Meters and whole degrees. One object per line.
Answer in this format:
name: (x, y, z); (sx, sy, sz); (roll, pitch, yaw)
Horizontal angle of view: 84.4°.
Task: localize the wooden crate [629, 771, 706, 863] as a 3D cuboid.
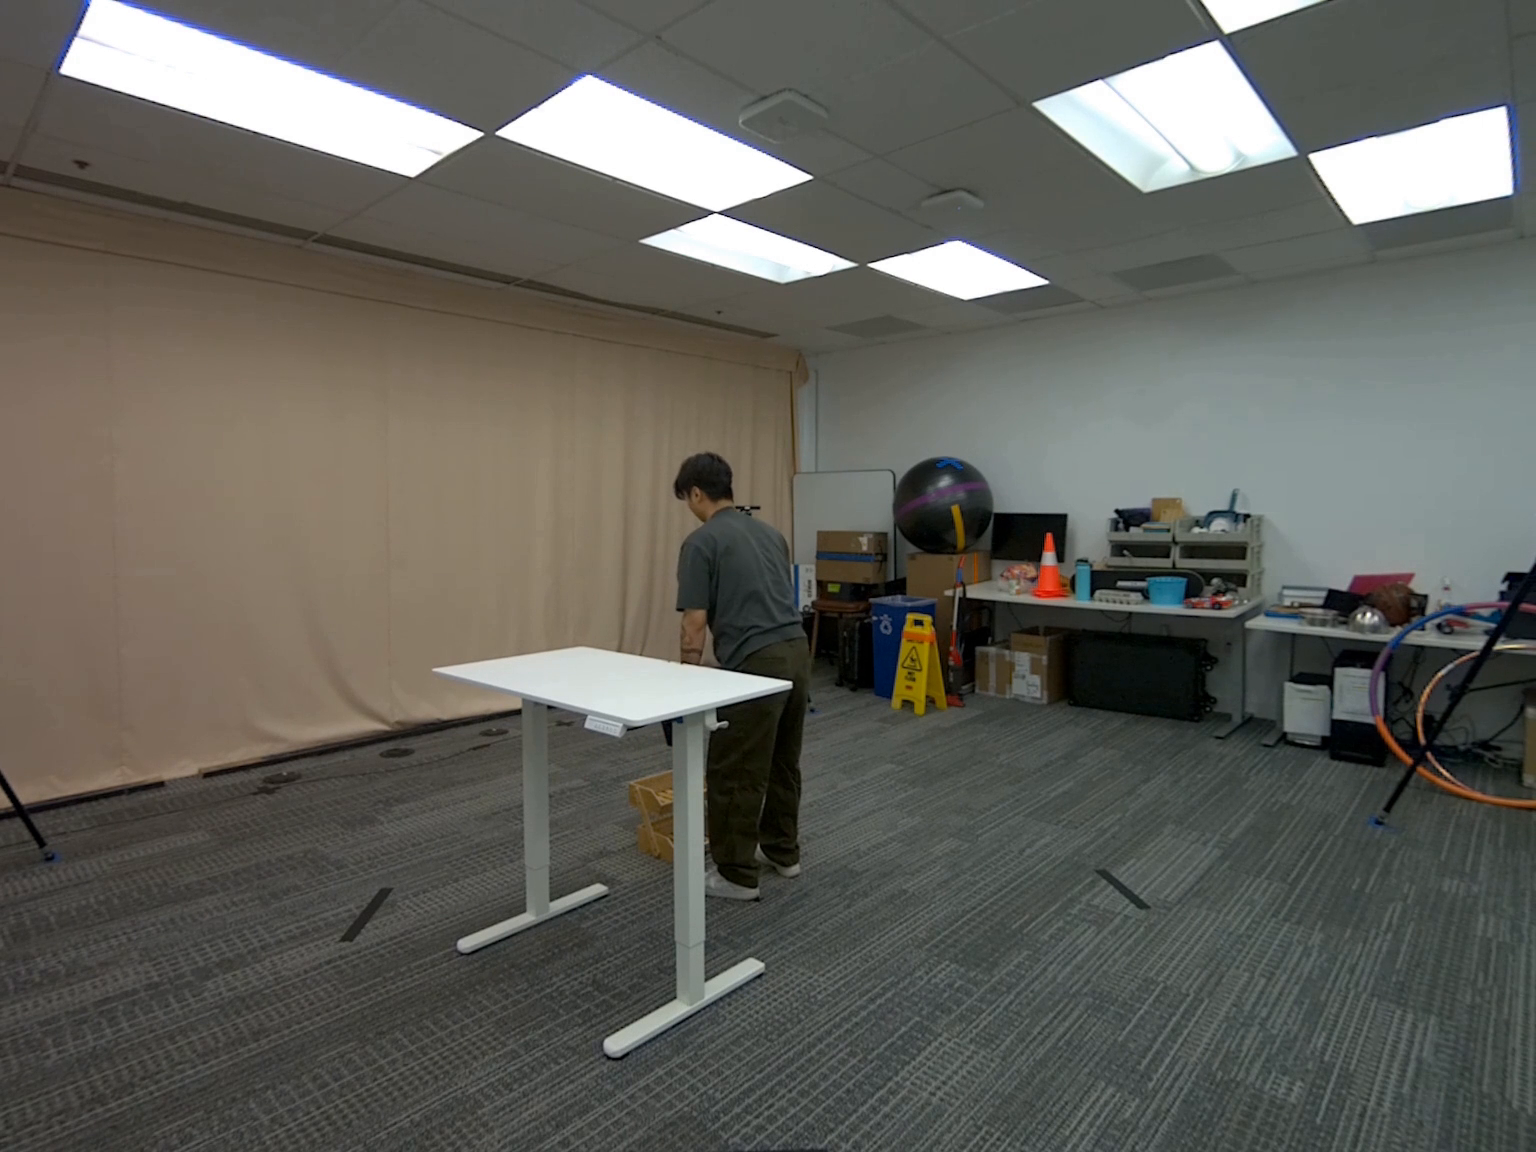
wooden crate: (-0.359, 0.973, 3.462); (0.312, 0.273, 0.314); (2, 5, 44)
